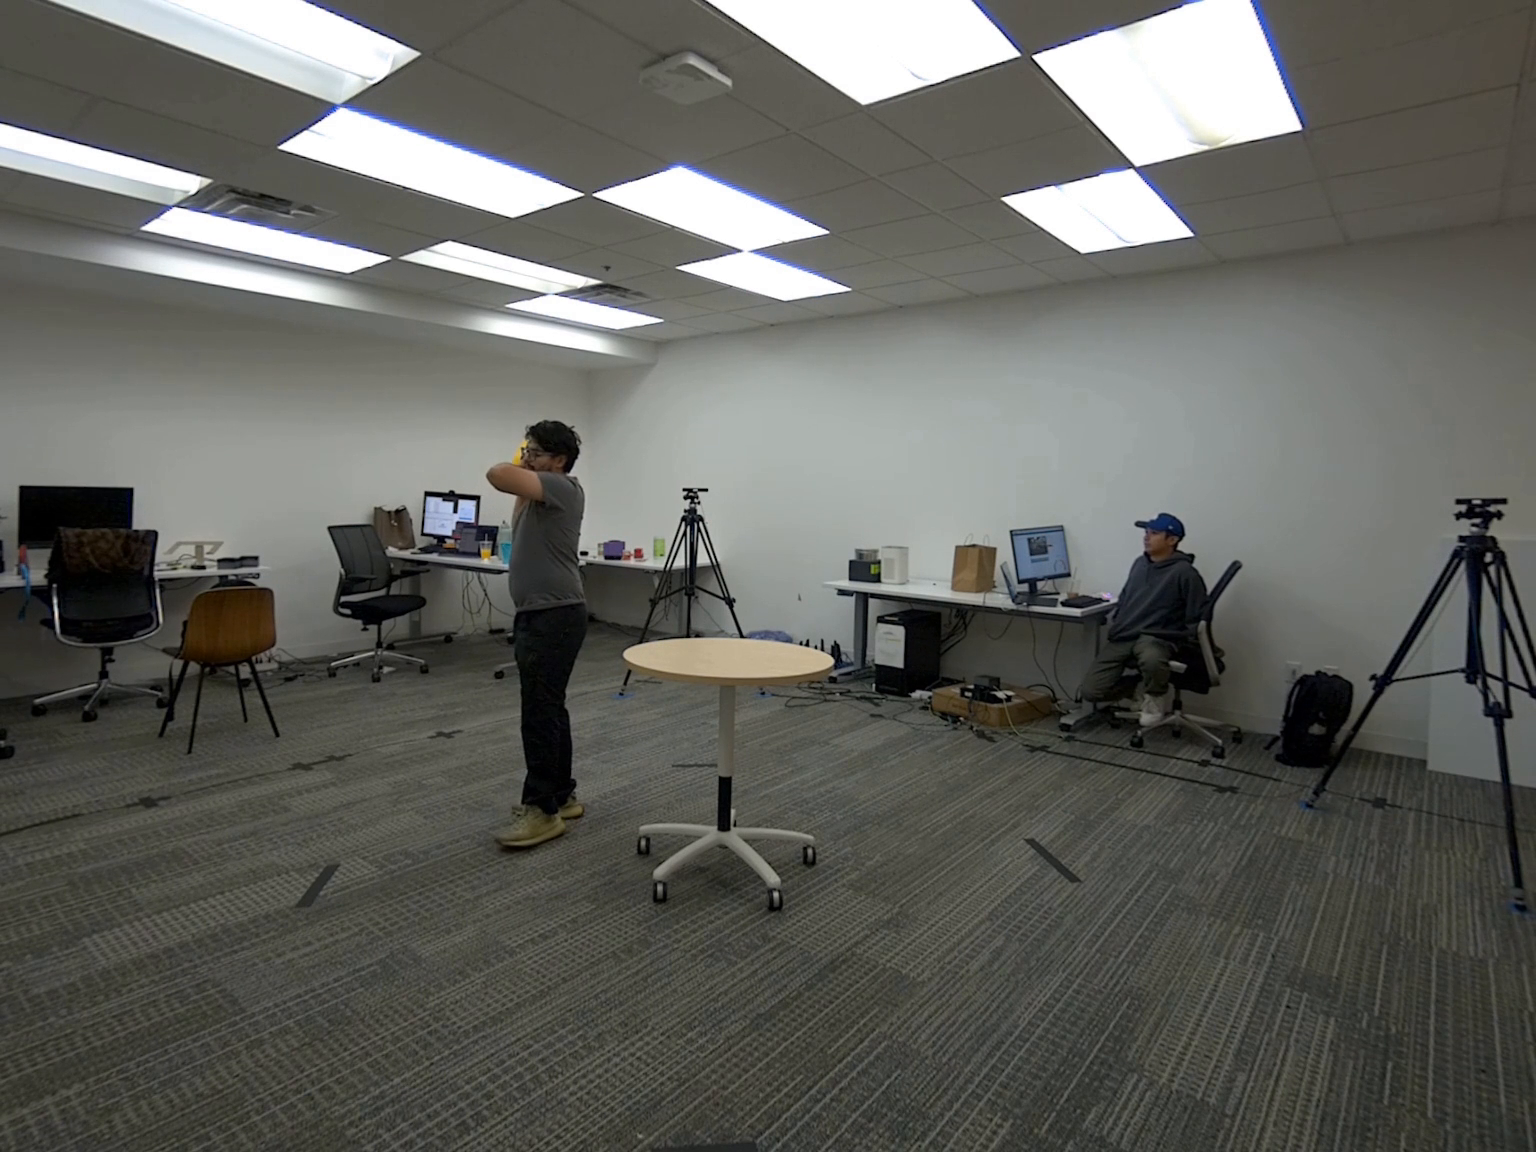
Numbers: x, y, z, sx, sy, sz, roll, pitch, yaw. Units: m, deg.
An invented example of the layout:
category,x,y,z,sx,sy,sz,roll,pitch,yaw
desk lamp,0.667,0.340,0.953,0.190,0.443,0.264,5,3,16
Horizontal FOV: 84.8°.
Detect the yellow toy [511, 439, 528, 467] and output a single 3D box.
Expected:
category,x,y,z,sx,sy,sz,roll,pitch,yaw
yellow toy,-1.042,-0.490,3.645,0.190,0.228,0.211,-16,13,-24
